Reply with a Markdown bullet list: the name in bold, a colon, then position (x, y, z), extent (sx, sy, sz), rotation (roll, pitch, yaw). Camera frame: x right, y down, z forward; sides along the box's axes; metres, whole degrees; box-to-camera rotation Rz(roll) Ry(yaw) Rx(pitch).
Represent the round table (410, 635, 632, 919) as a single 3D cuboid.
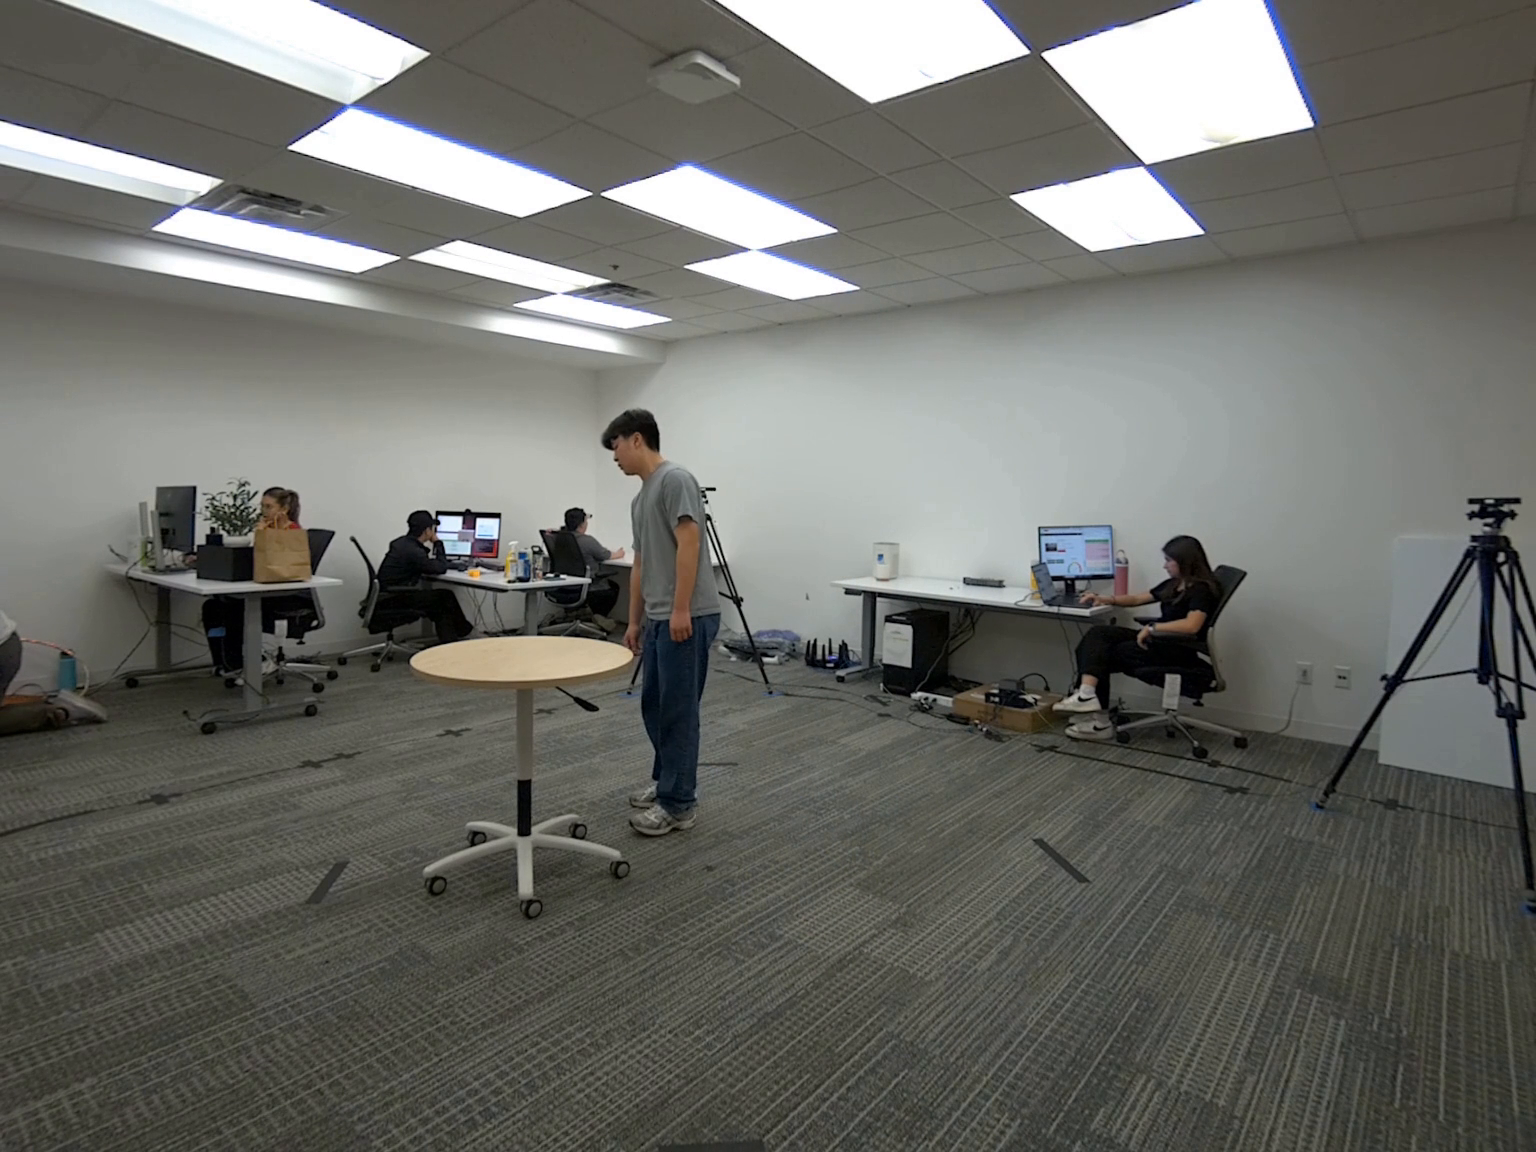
- **round table**: position (-0.879, 0.674, 3.025), extent (0.763, 0.791, 0.768), rotation (1, 4, -2)
